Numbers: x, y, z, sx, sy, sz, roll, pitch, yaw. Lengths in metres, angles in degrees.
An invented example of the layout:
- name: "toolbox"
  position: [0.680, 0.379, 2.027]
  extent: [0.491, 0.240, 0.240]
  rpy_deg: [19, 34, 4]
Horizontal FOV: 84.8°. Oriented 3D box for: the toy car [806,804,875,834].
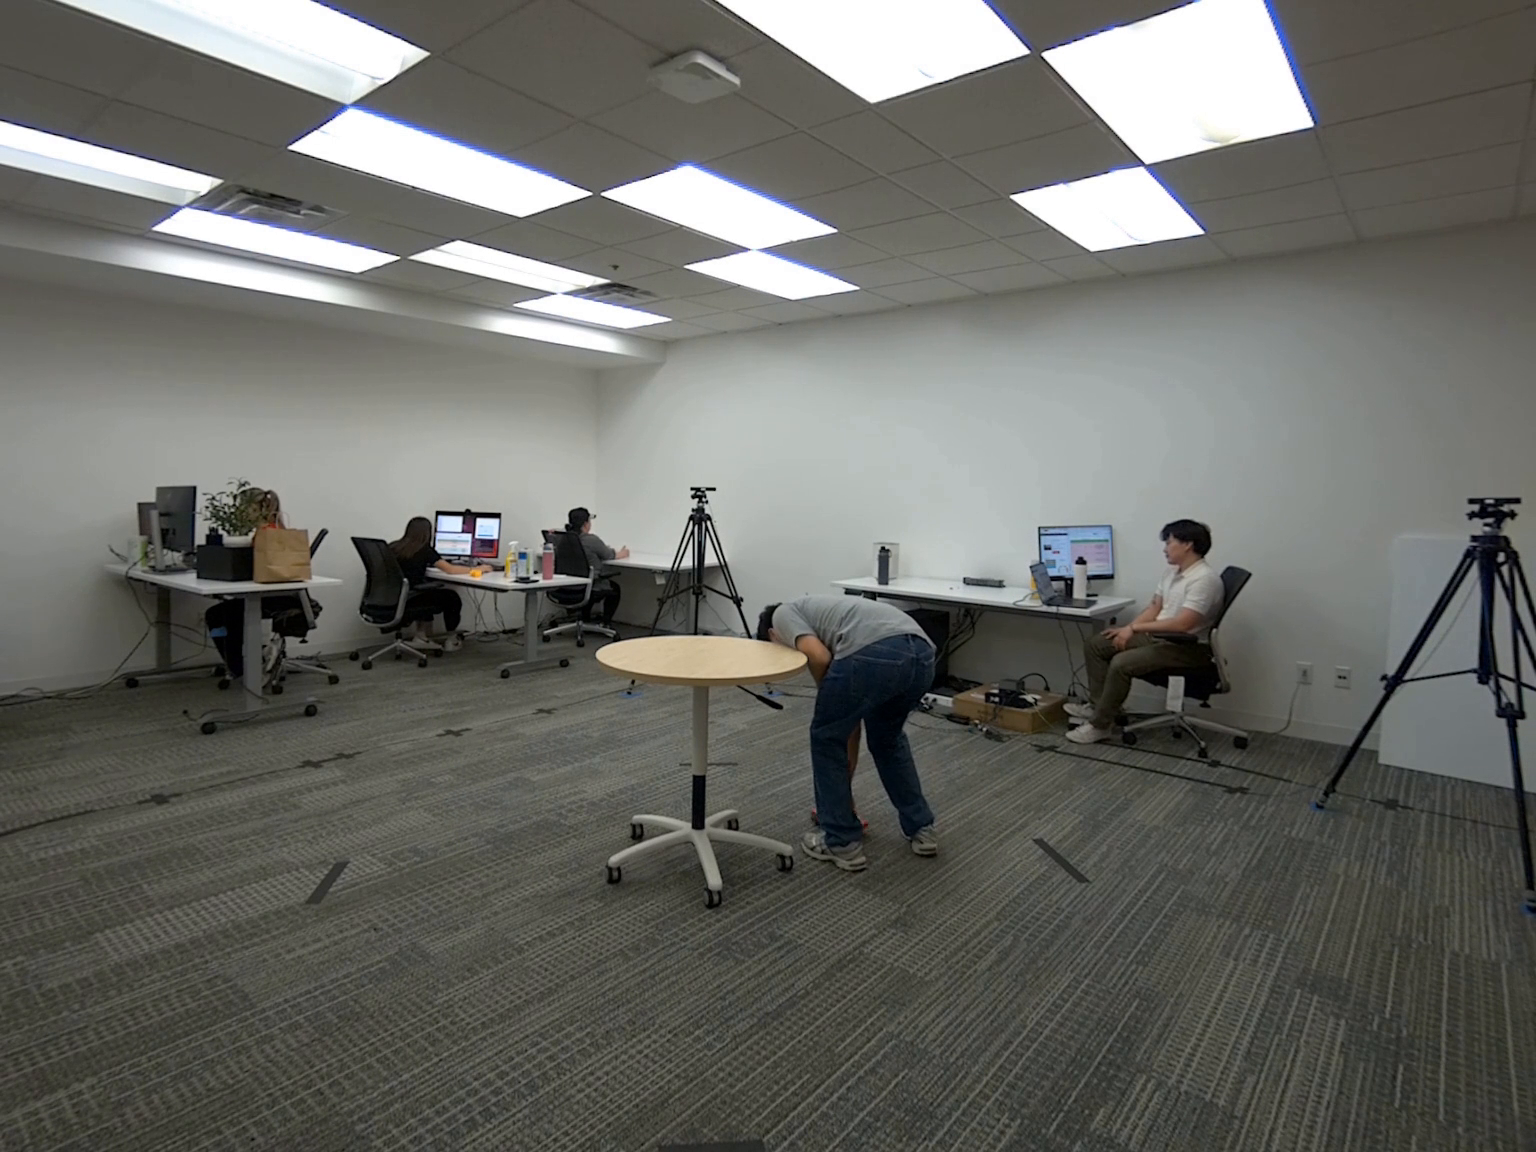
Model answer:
- name: "toy car"
  position: [0.298, 1.005, 3.502]
  extent: [0.126, 0.083, 0.261]
  rpy_deg: [-1, -4, -42]
